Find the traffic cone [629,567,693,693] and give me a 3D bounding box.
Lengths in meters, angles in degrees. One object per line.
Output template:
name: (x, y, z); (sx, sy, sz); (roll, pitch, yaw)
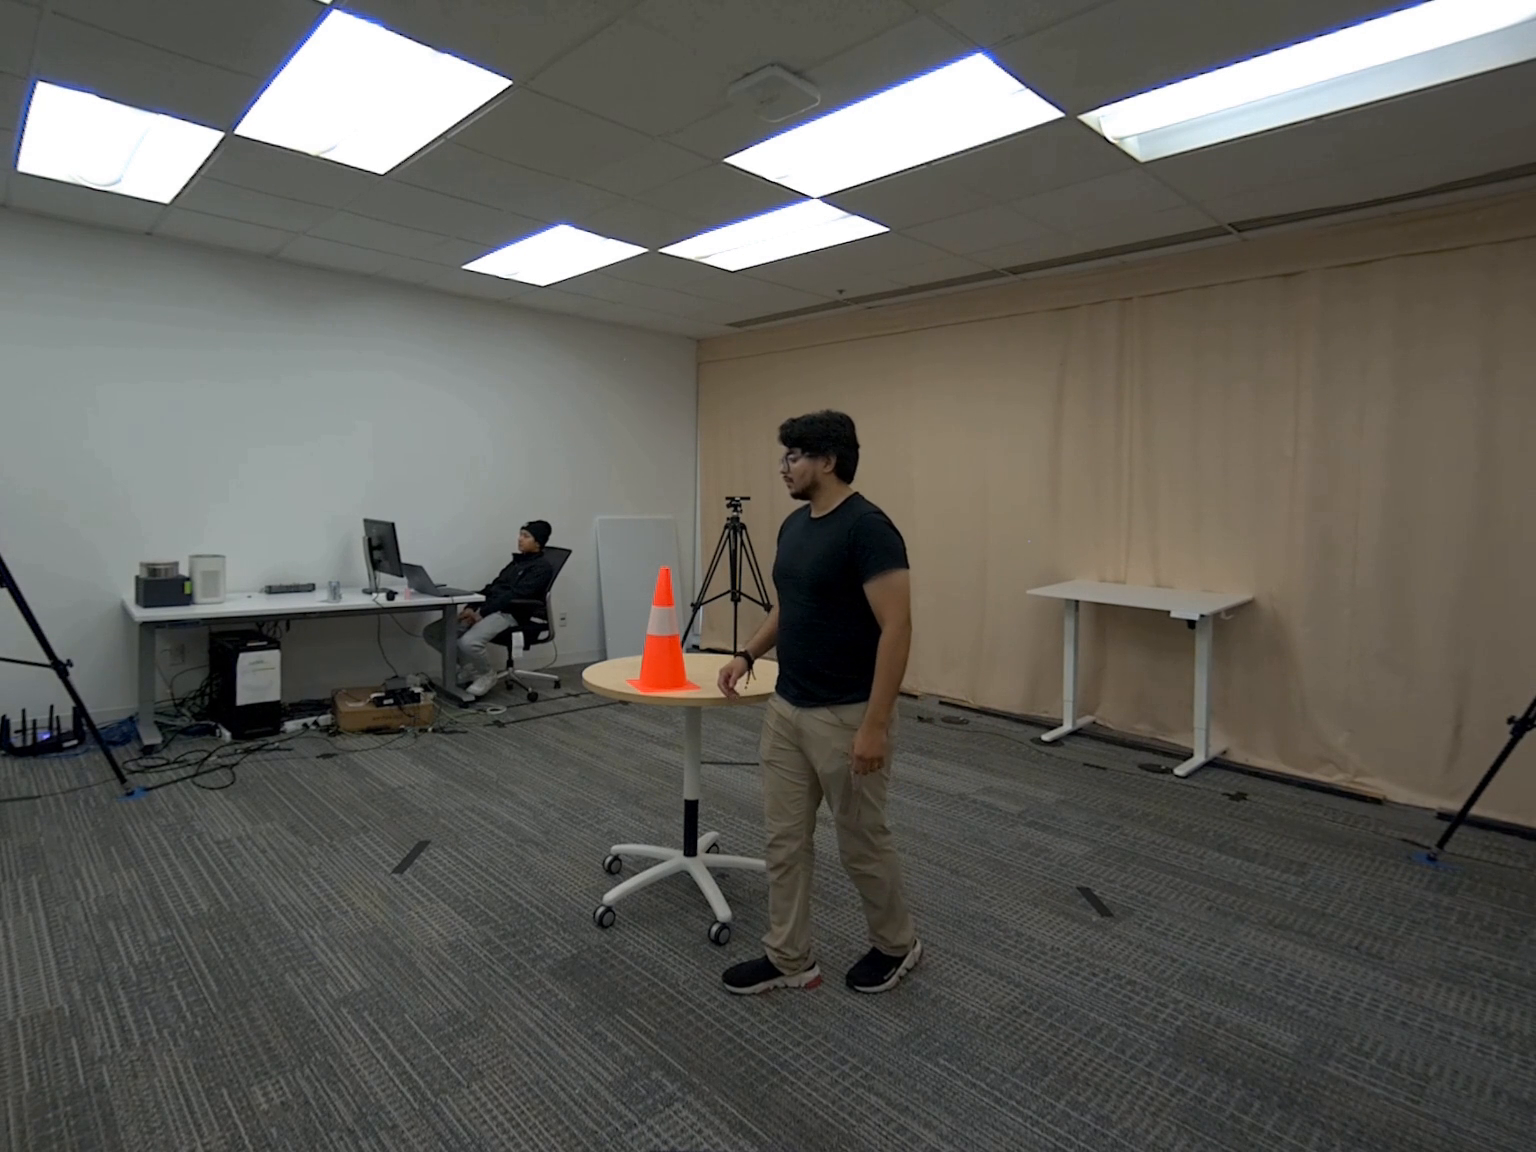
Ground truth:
traffic cone: (-0.340, 0.165, 2.702); (0.201, 0.383, 0.208); (2, 2, -31)
